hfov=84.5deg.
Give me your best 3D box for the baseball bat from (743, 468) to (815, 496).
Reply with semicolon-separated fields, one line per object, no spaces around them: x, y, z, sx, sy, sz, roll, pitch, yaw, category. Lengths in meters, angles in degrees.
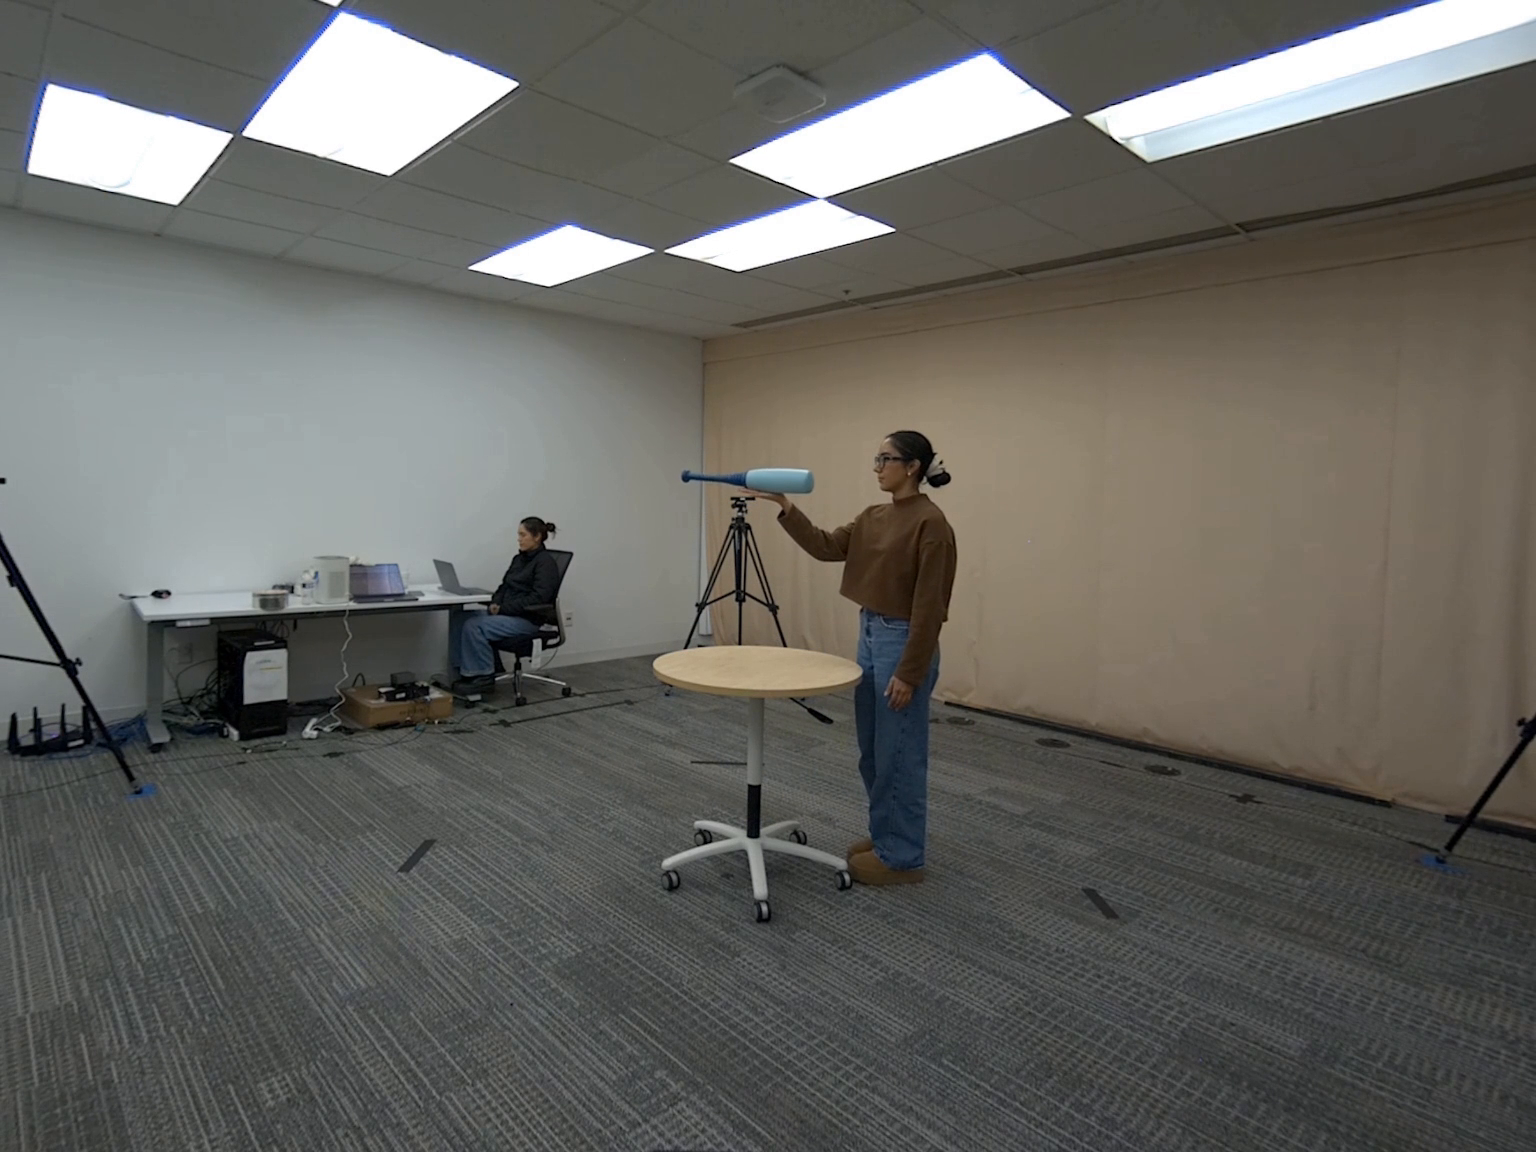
-0.085;-0.363;3.151;0.554;0.089;0.087;6;6;26;baseball bat
